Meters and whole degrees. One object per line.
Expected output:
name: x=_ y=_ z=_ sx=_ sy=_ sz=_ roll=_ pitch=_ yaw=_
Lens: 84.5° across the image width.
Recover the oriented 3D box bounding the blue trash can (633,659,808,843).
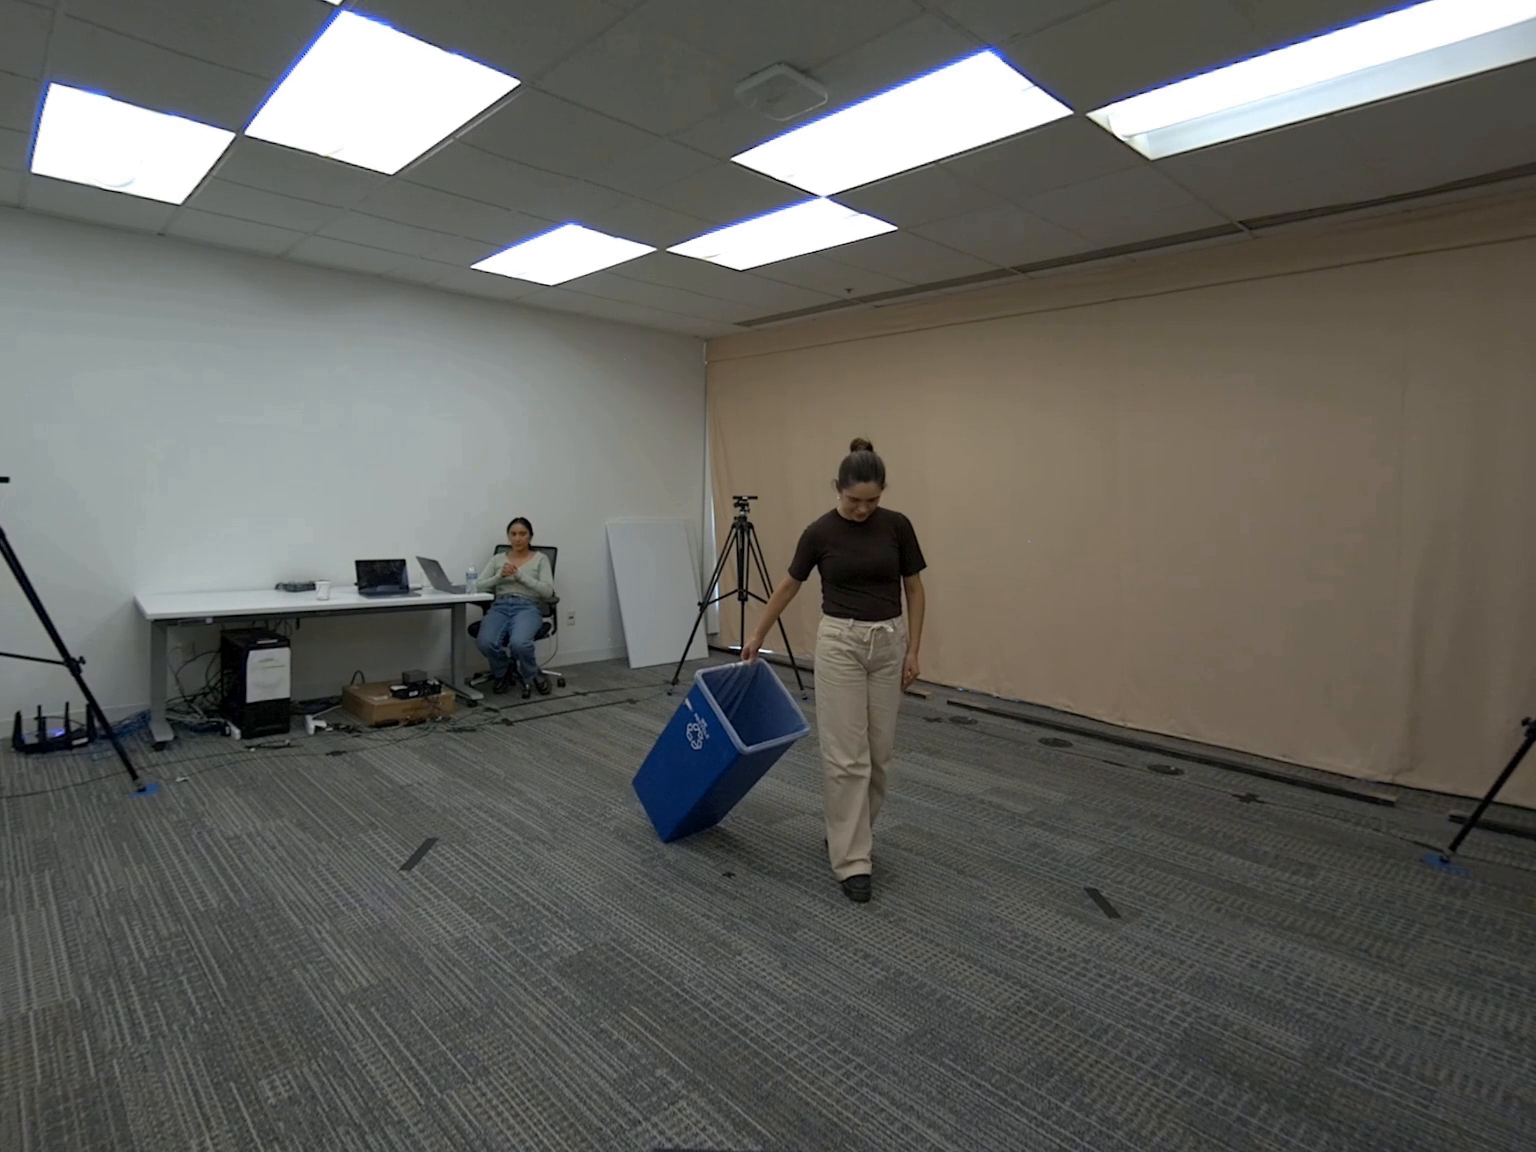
blue trash can: x=-0.219 y=0.716 z=3.344 sx=0.370 sy=0.709 sz=0.384 roll=-5 pitch=49 yaw=-43
